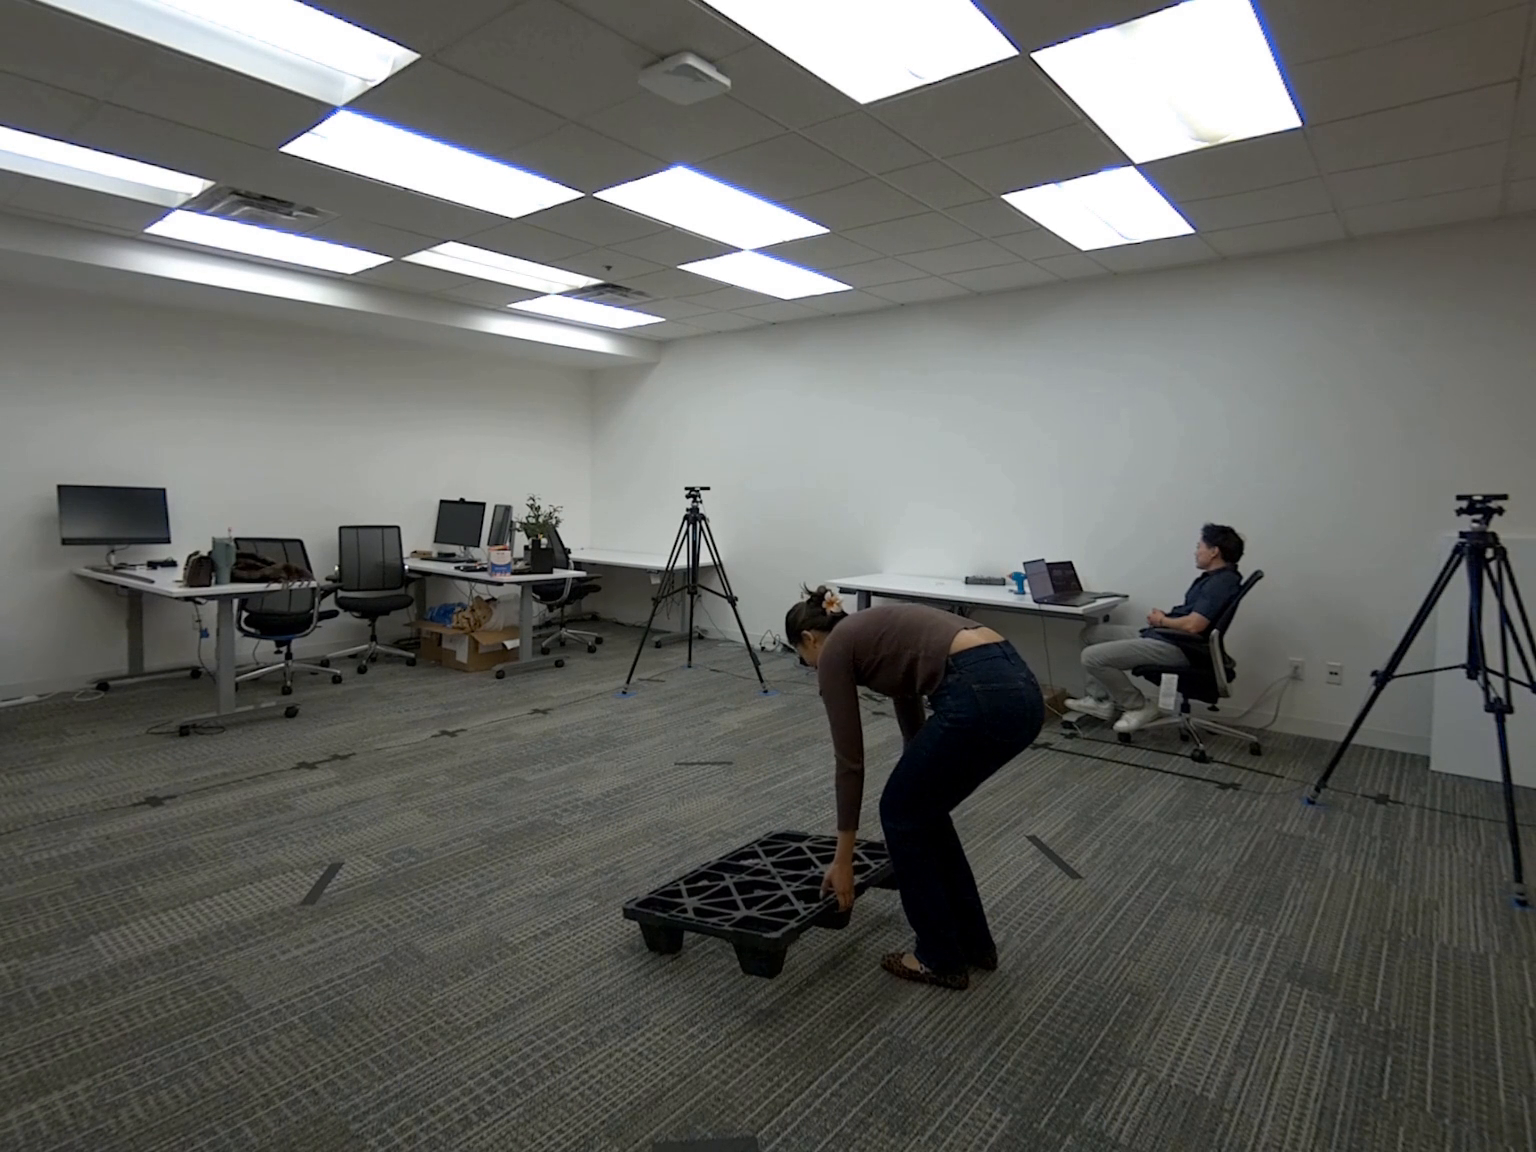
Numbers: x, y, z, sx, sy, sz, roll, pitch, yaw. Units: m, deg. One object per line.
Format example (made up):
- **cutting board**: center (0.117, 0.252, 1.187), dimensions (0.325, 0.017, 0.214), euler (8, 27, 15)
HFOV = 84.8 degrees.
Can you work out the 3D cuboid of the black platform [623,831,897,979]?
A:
- **black platform**: center (0.021, 1.006, 2.681), dimensions (0.621, 0.144, 0.782), euler (-9, -2, 38)
